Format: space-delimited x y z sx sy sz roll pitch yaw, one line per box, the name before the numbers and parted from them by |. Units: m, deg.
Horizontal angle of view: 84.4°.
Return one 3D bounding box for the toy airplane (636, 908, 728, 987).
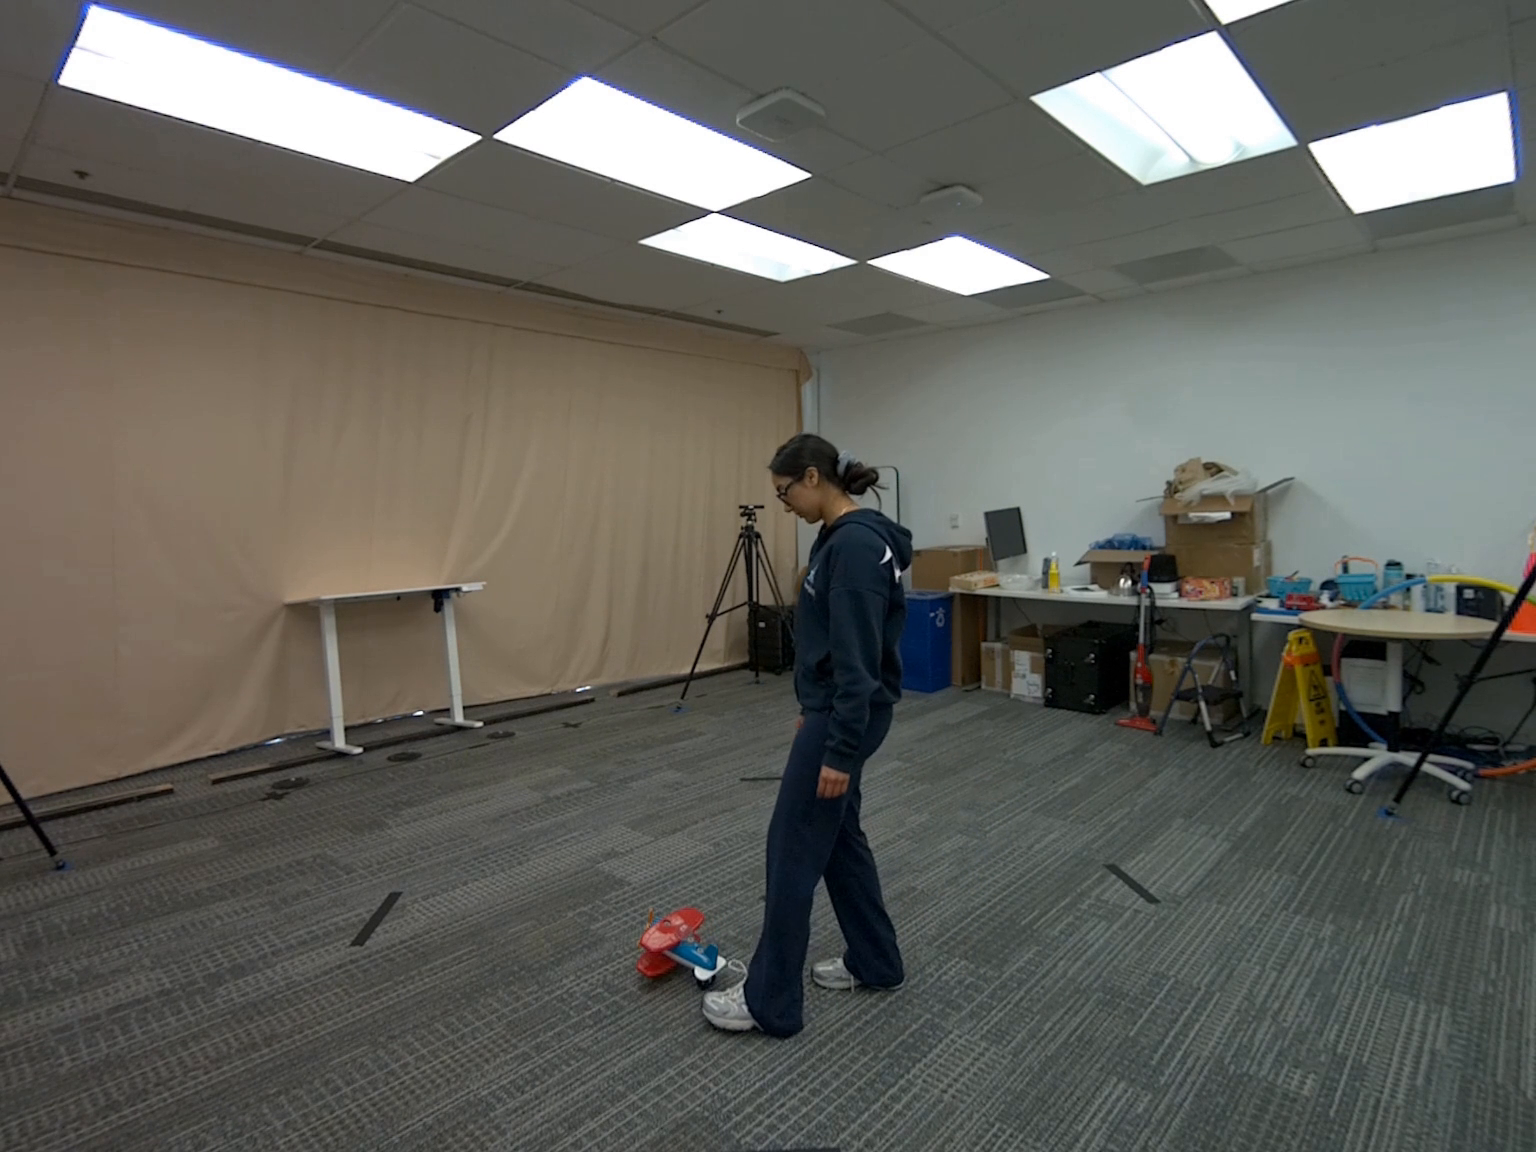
toy airplane | -0.247 1.115 2.507 0.260 0.156 0.251 -3 5 4
